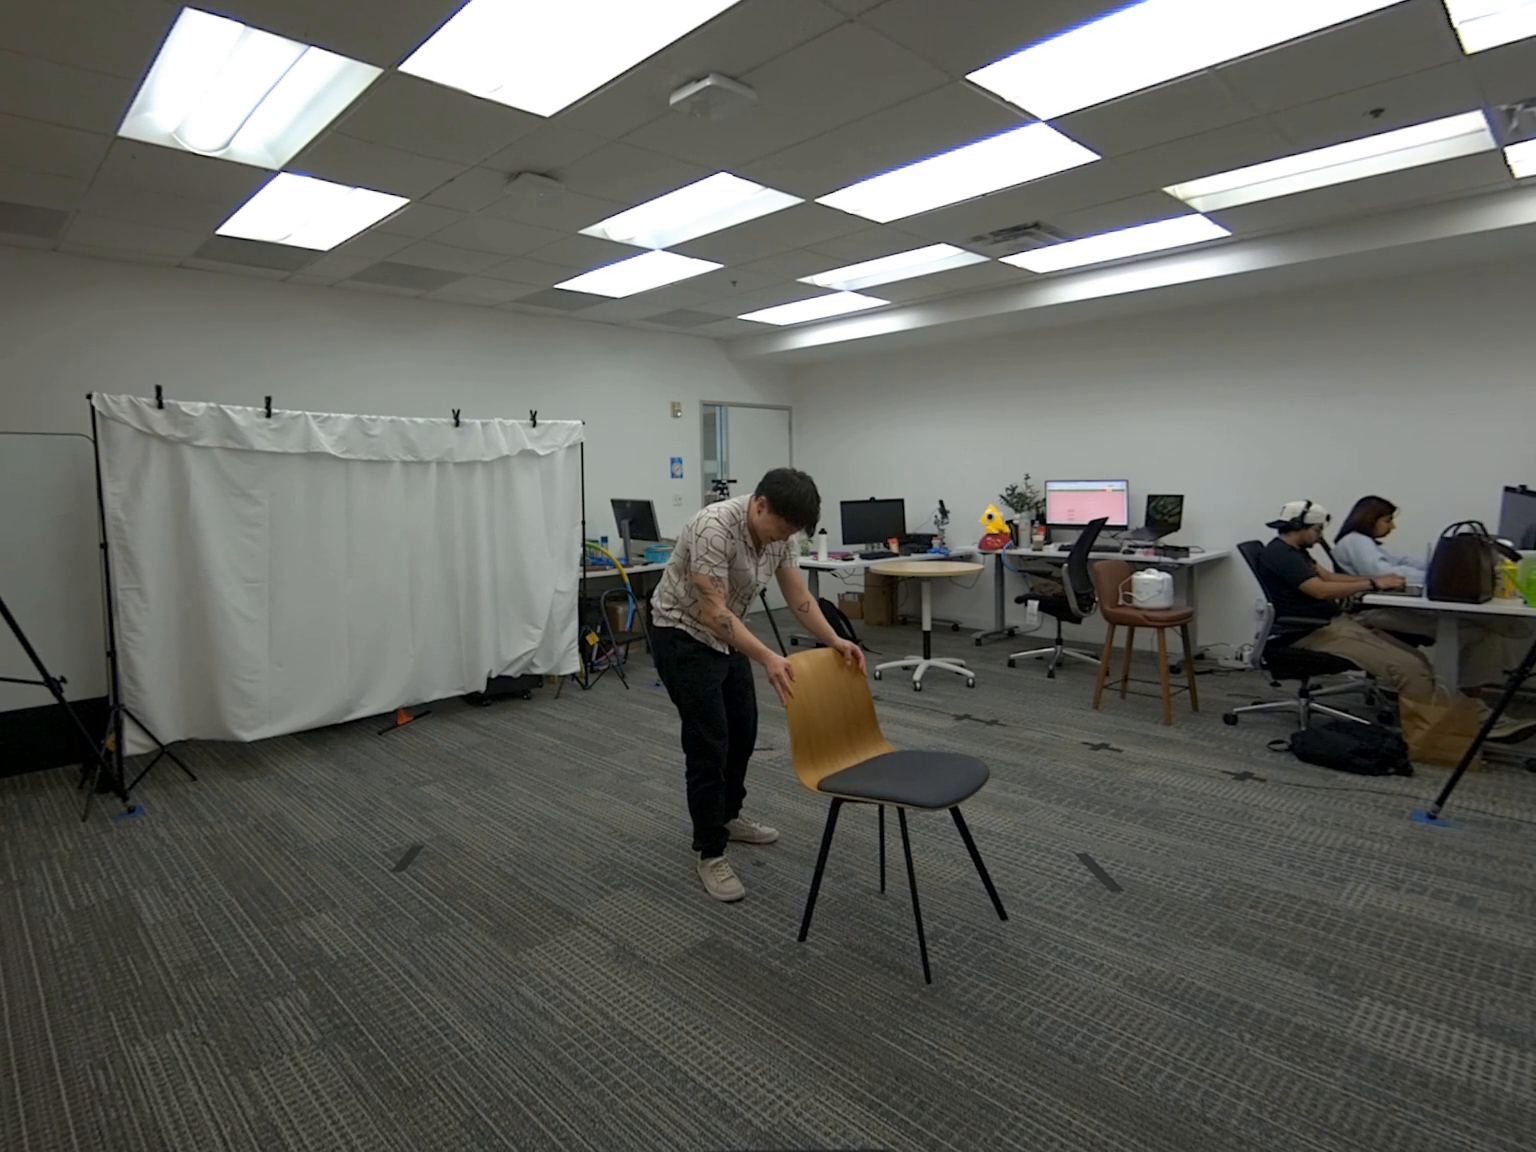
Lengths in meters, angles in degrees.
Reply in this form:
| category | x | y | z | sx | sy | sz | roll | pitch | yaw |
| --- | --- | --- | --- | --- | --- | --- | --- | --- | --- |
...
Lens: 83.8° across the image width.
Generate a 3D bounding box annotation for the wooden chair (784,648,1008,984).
| category | x | y | z | sx | sy | sz | roll | pitch | yaw |
| --- | --- | --- | --- | --- | --- | --- | --- | --- | --- |
| wooden chair | 0.374 | 0.648 | 2.578 | 0.535 | 0.881 | 0.465 | -13 | -5 | 43 |
